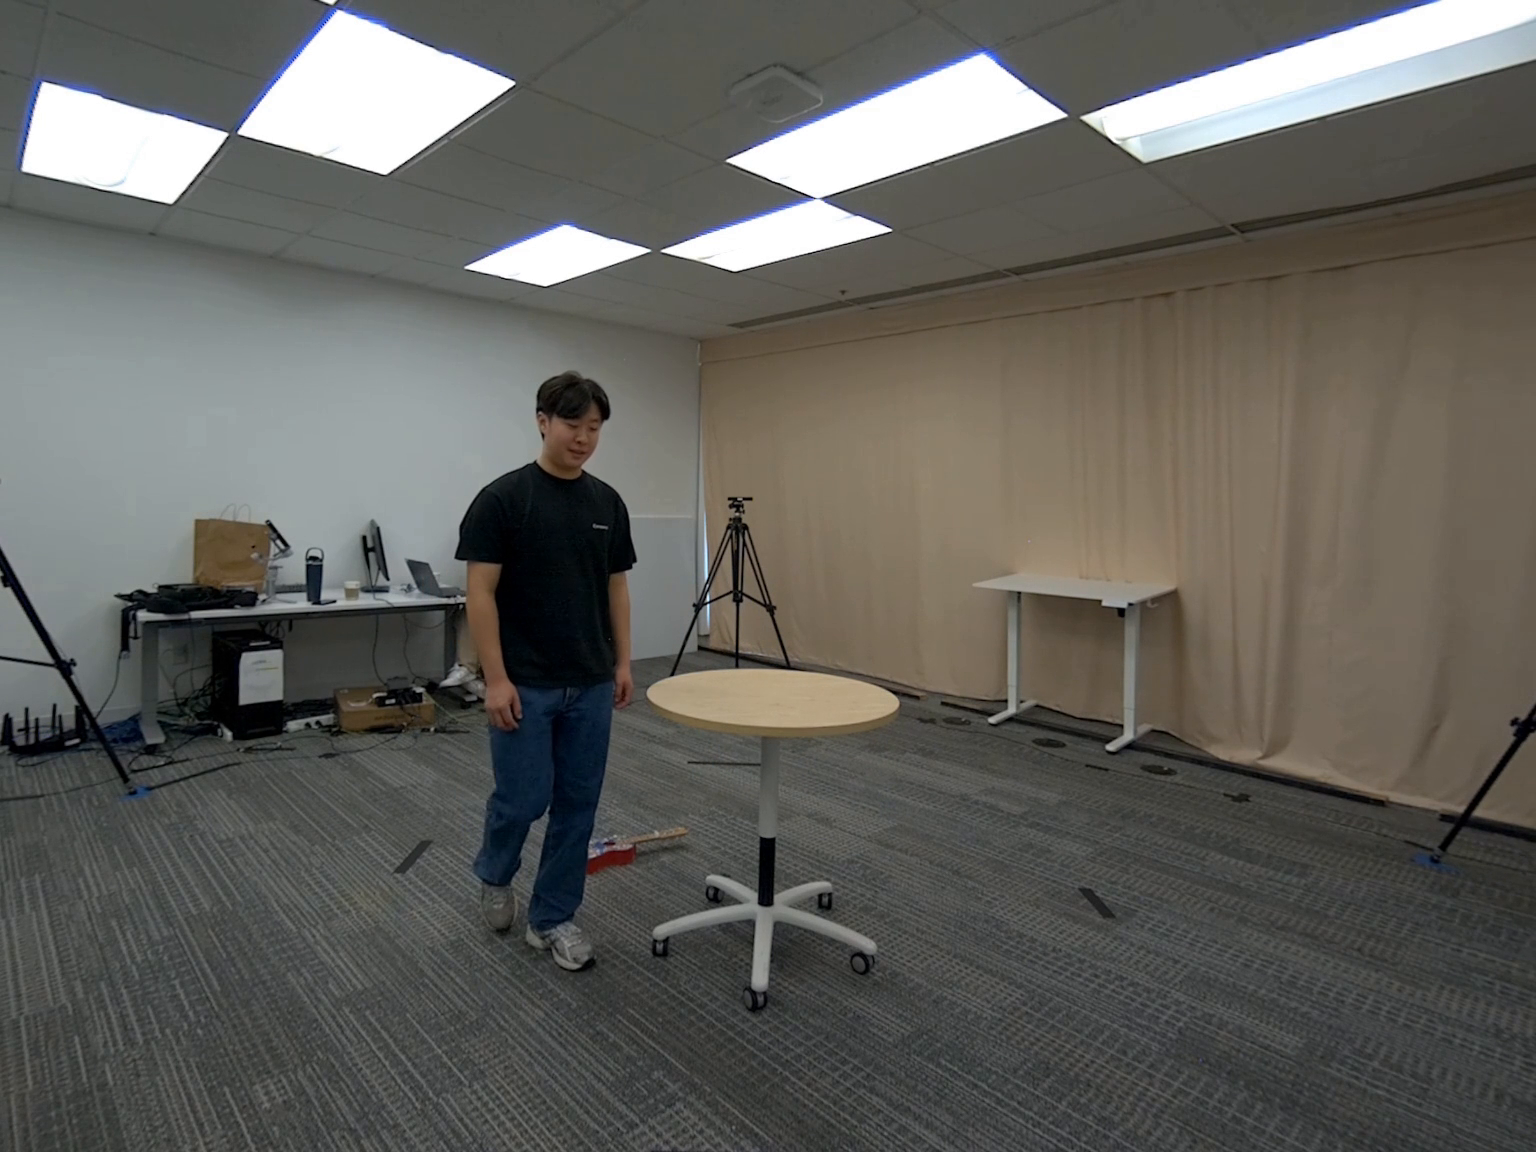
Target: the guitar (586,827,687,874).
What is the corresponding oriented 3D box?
[{"bbox_3d":[-0.539,1.054,3.232,0.491,0.070,0.196,-1,5,-19],"label":"guitar"}]
